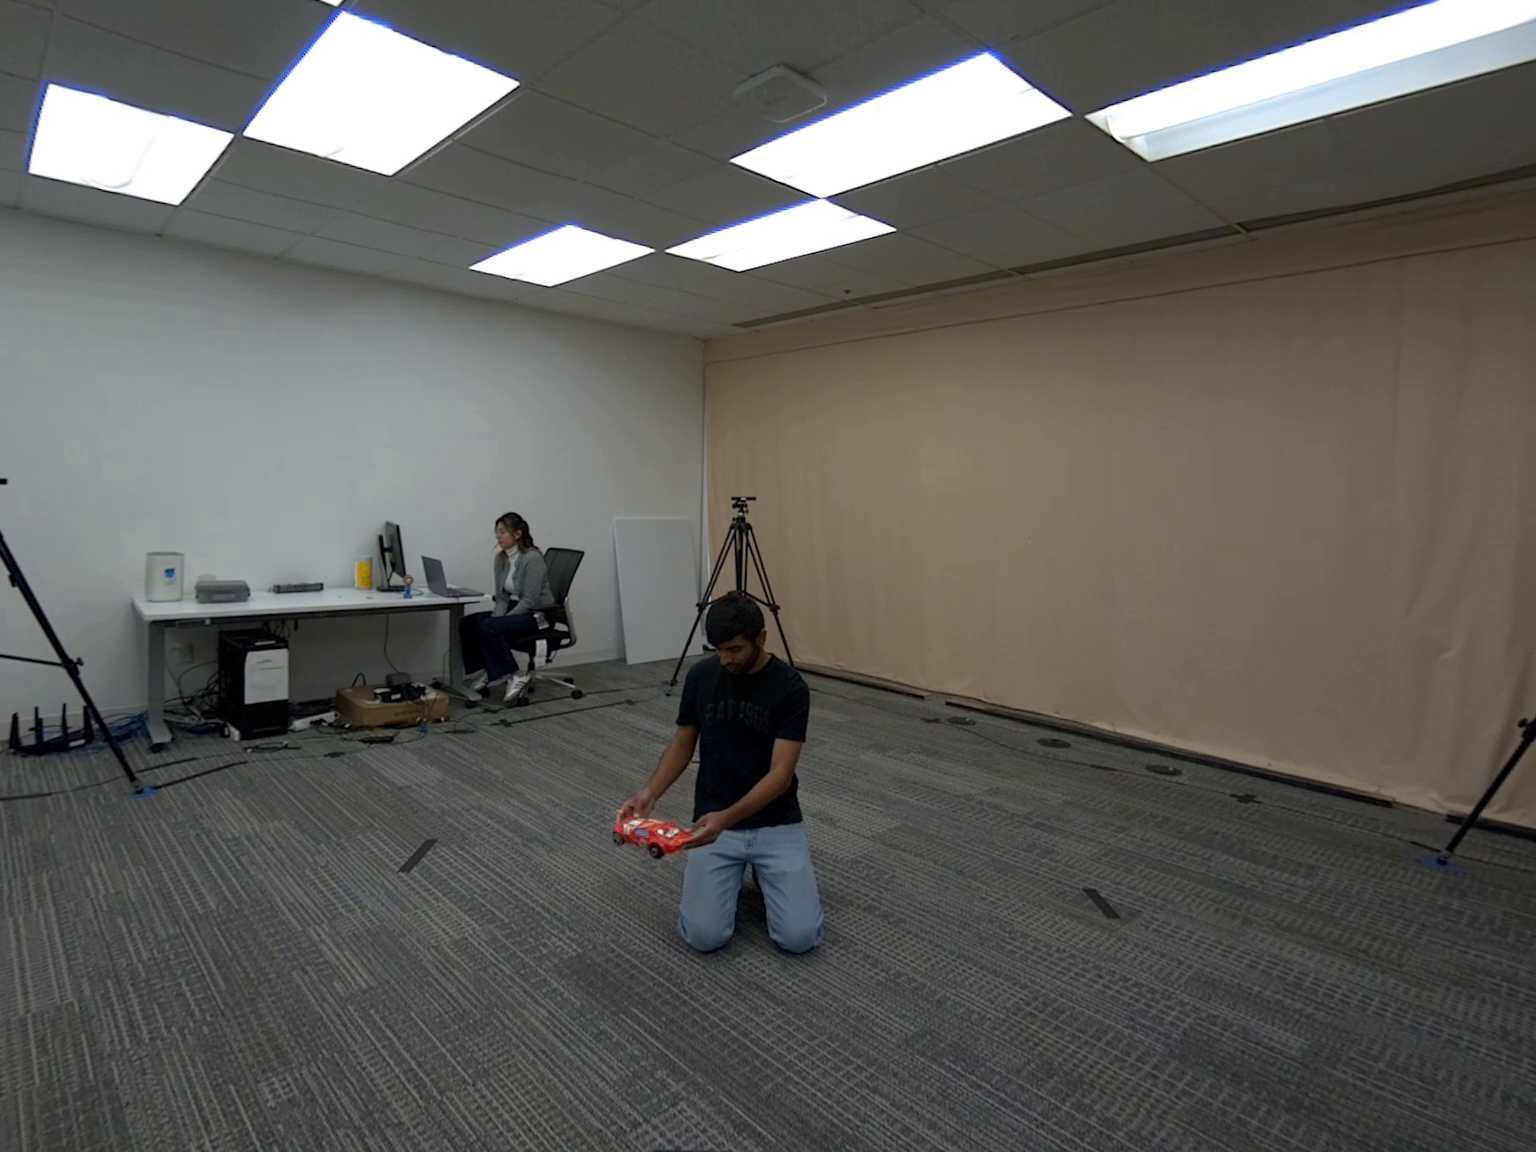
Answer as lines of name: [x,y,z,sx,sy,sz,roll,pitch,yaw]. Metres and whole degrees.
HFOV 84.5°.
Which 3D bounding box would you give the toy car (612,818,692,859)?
toy car: [-0.355,0.784,2.530,0.259,0.083,0.128,-6,5,33]
